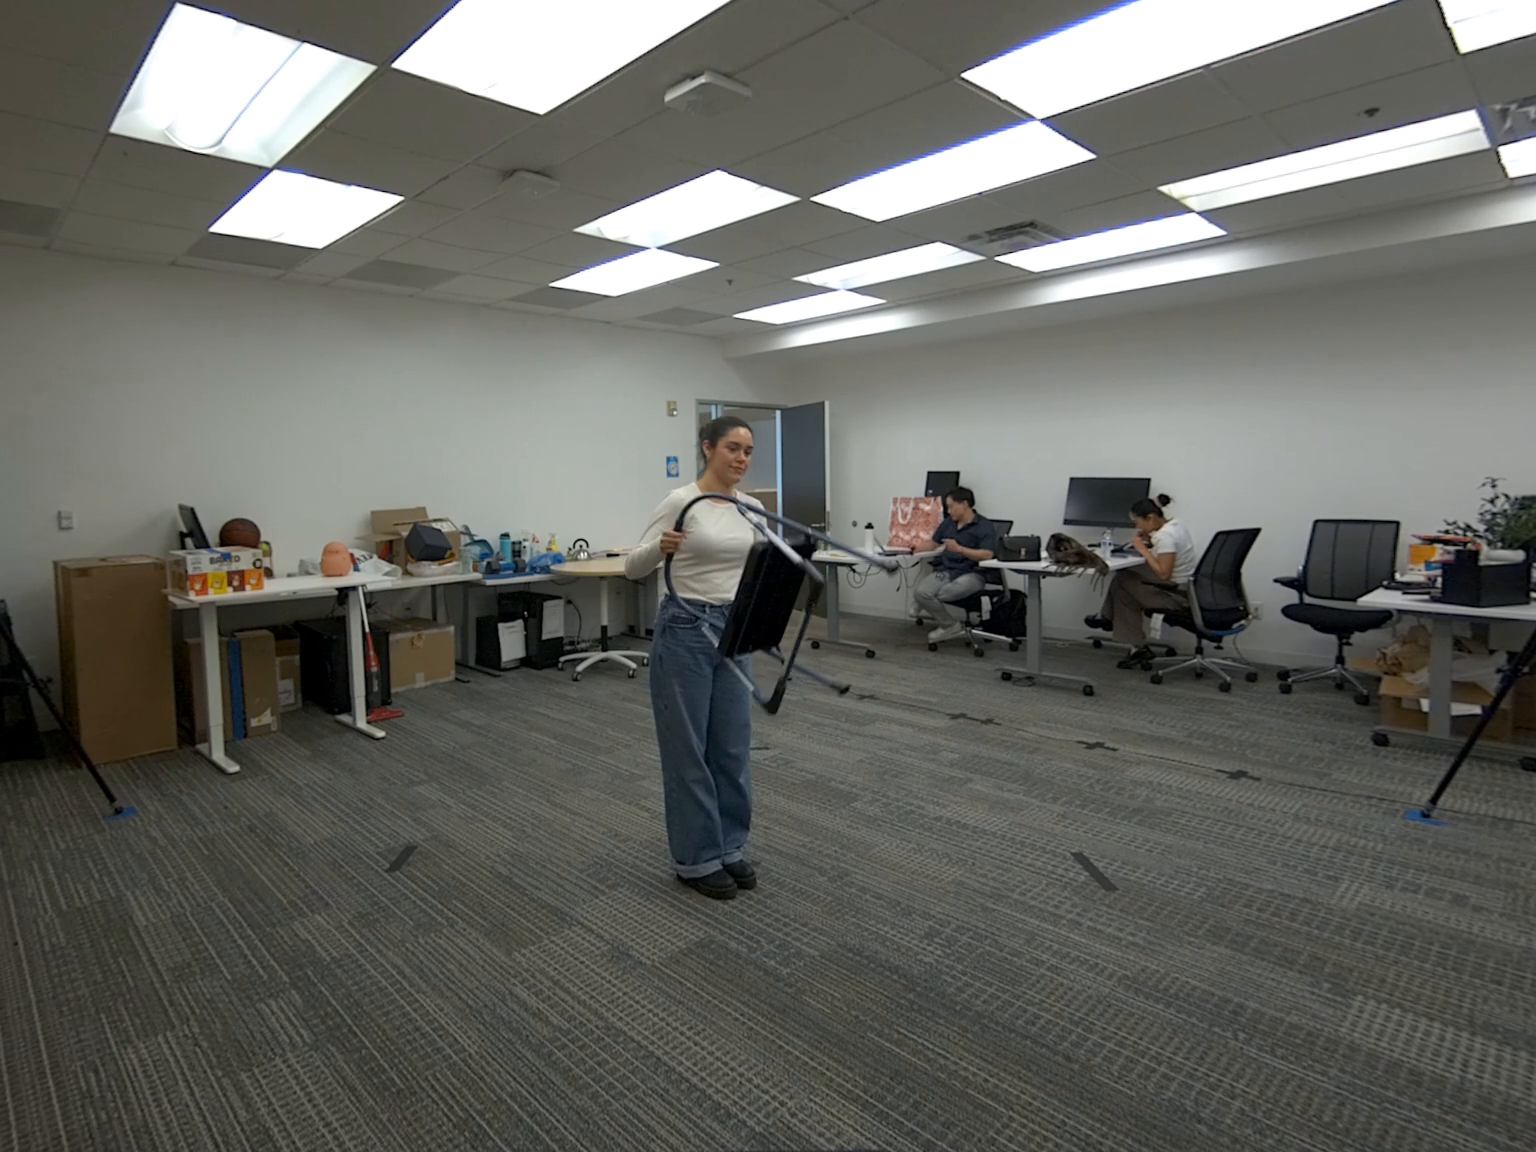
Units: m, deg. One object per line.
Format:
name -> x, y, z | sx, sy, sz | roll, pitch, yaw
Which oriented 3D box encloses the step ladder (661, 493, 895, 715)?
step ladder -> -0.036, 0.038, 2.462 | 0.629, 0.426, 0.340 | 34, 26, 35
